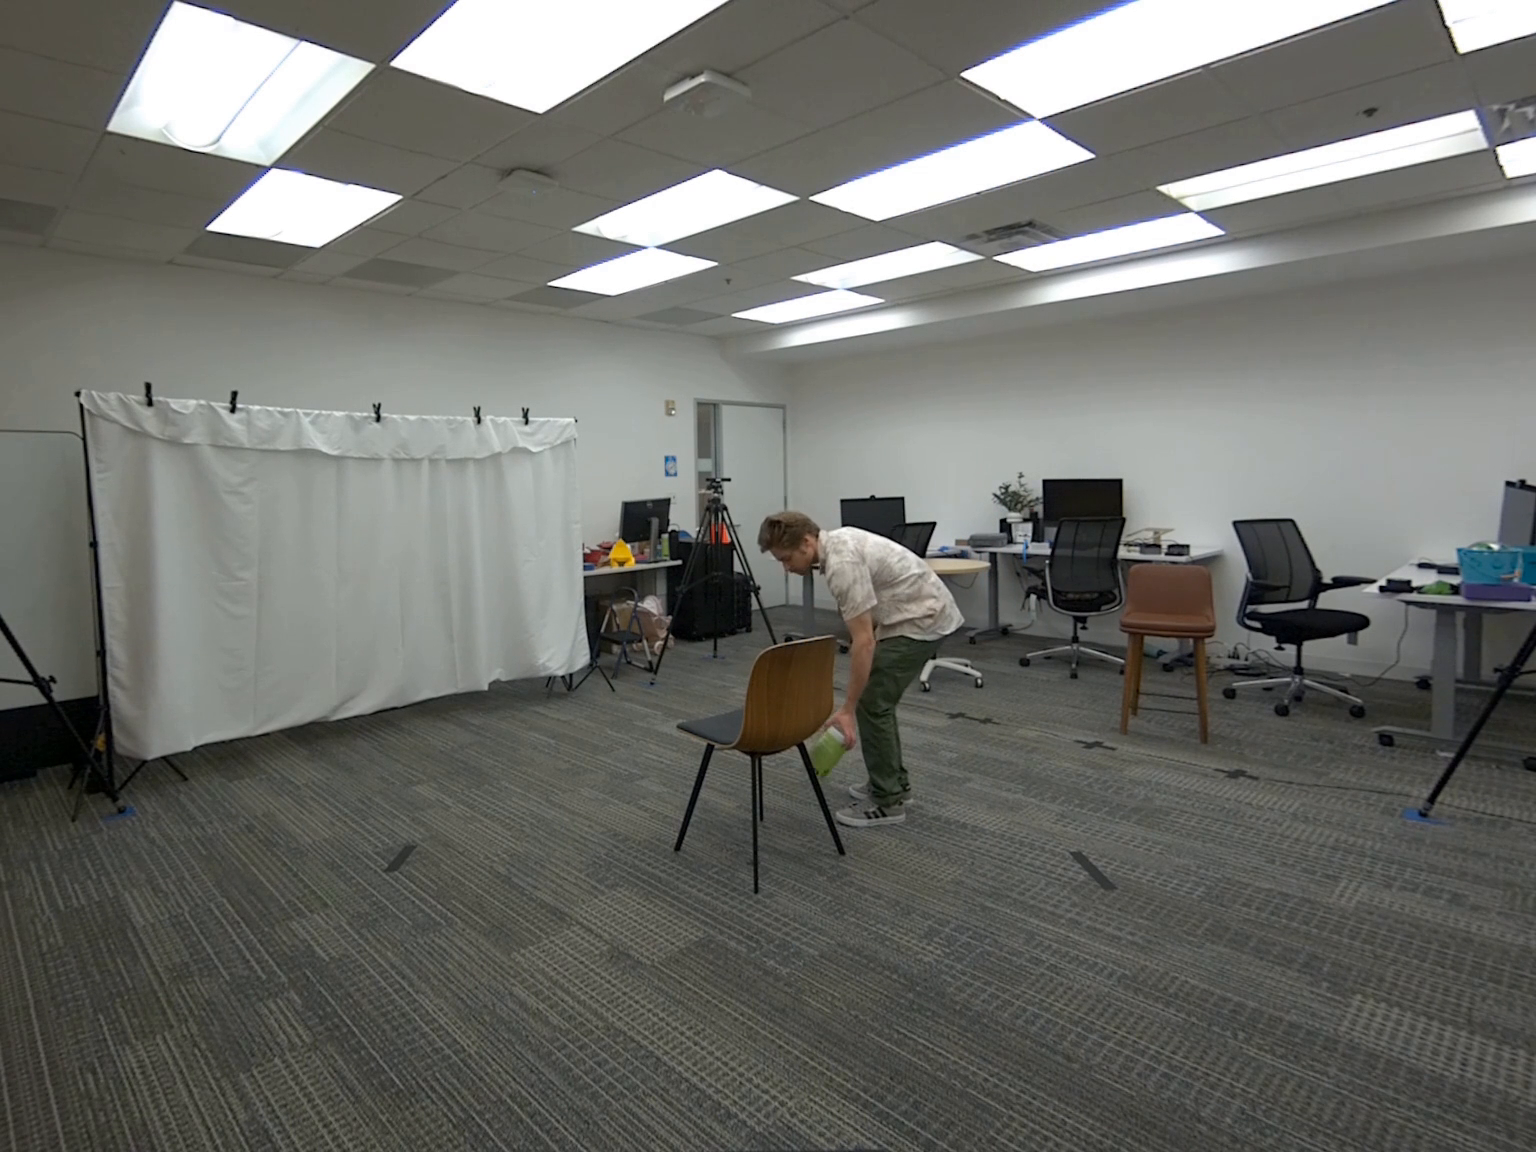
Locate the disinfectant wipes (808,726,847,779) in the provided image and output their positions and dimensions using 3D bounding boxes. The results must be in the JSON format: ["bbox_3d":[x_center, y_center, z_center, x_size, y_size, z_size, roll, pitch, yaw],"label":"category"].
[{"bbox_3d":[0.221,0.690,3.317,0.117,0.217,0.118,35,1,-3],"label":"disinfectant wipes"}]
